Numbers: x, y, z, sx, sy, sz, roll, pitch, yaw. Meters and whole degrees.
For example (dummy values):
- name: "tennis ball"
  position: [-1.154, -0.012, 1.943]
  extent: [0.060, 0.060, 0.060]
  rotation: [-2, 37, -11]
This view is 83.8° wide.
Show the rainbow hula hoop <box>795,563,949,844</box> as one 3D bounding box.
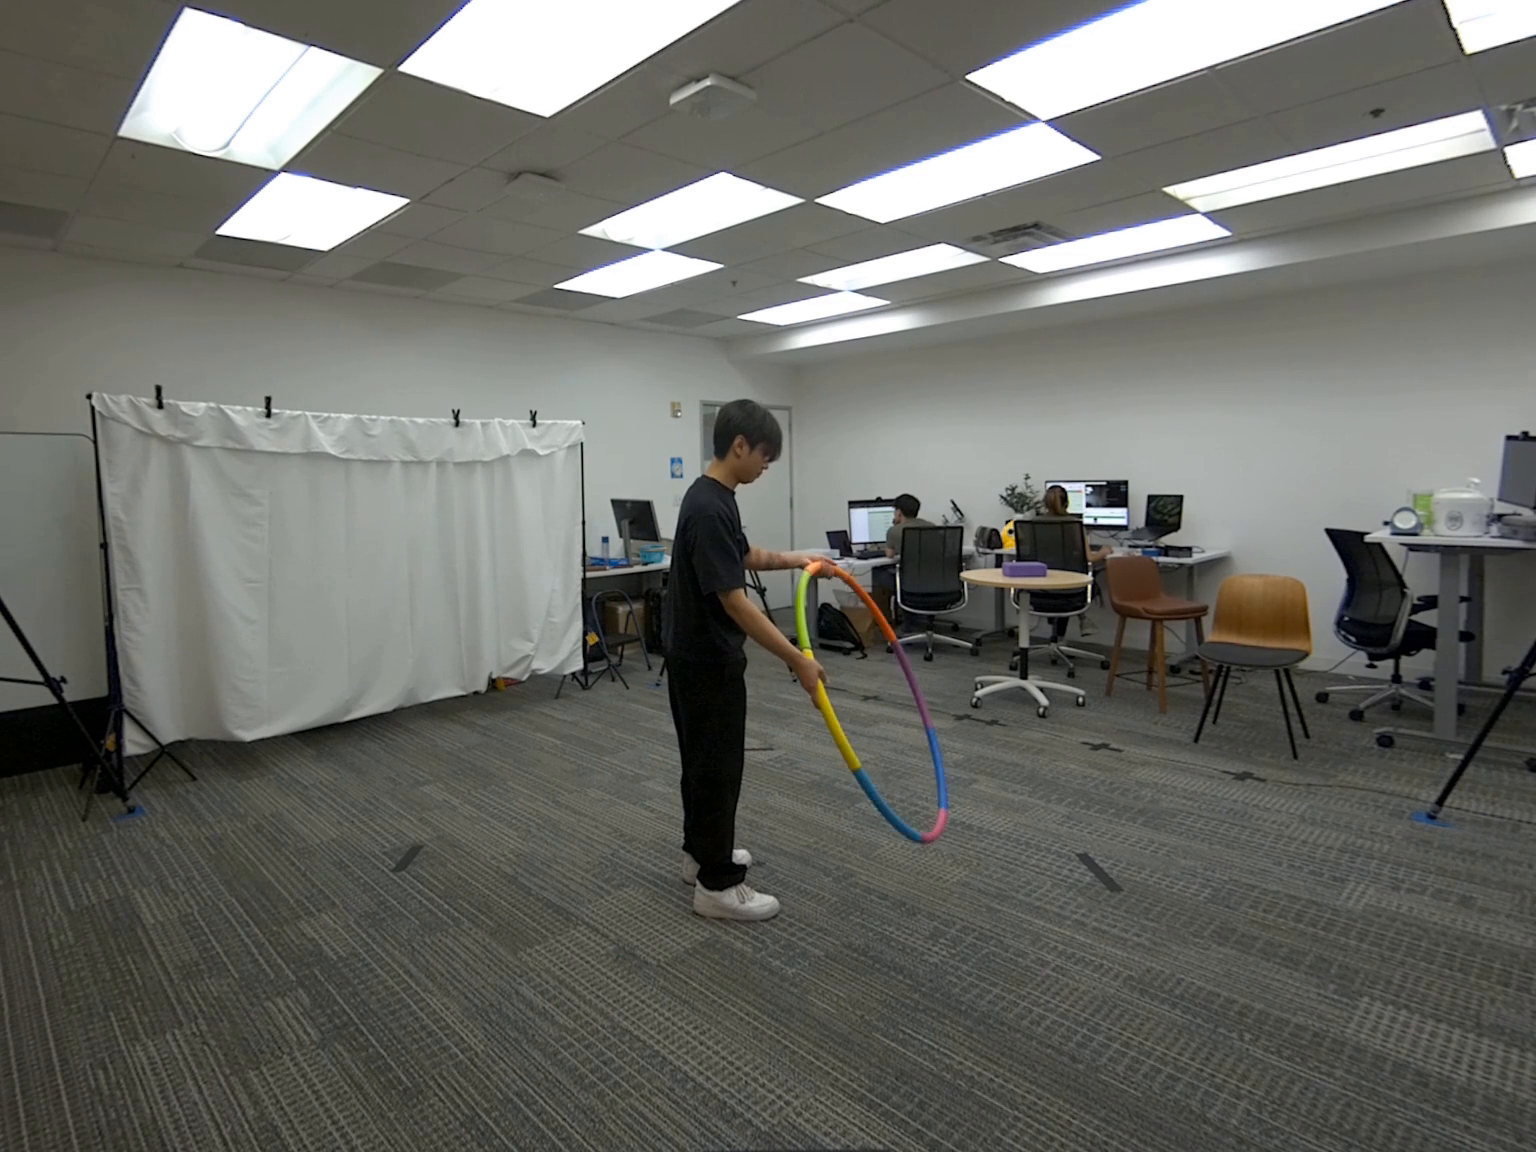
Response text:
- name: "rainbow hula hoop"
  position: [0.368, 0.406, 2.909]
  extent: [0.036, 0.987, 0.962]
  rotation: [-27, -6, 22]
